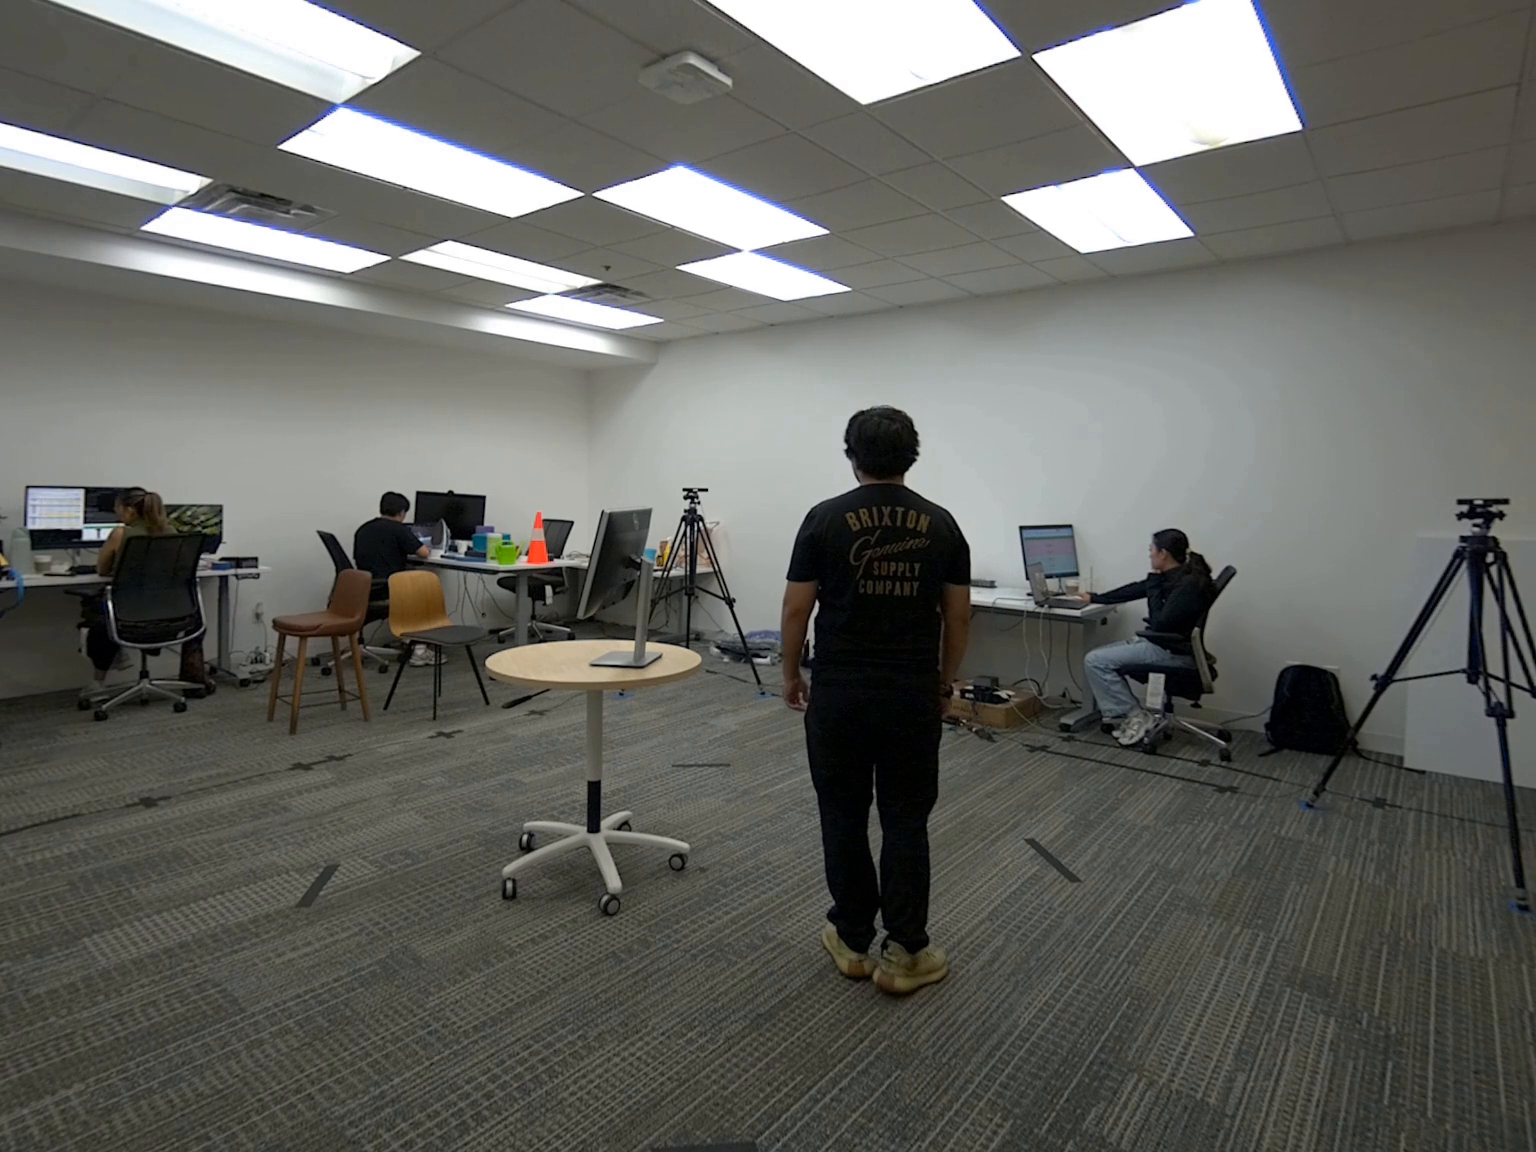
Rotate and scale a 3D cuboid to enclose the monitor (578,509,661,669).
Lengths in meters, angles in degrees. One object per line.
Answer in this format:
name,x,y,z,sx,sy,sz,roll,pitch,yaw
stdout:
monitor,-0.485,0.036,3.000,0.212,0.552,0.561,8,5,7
